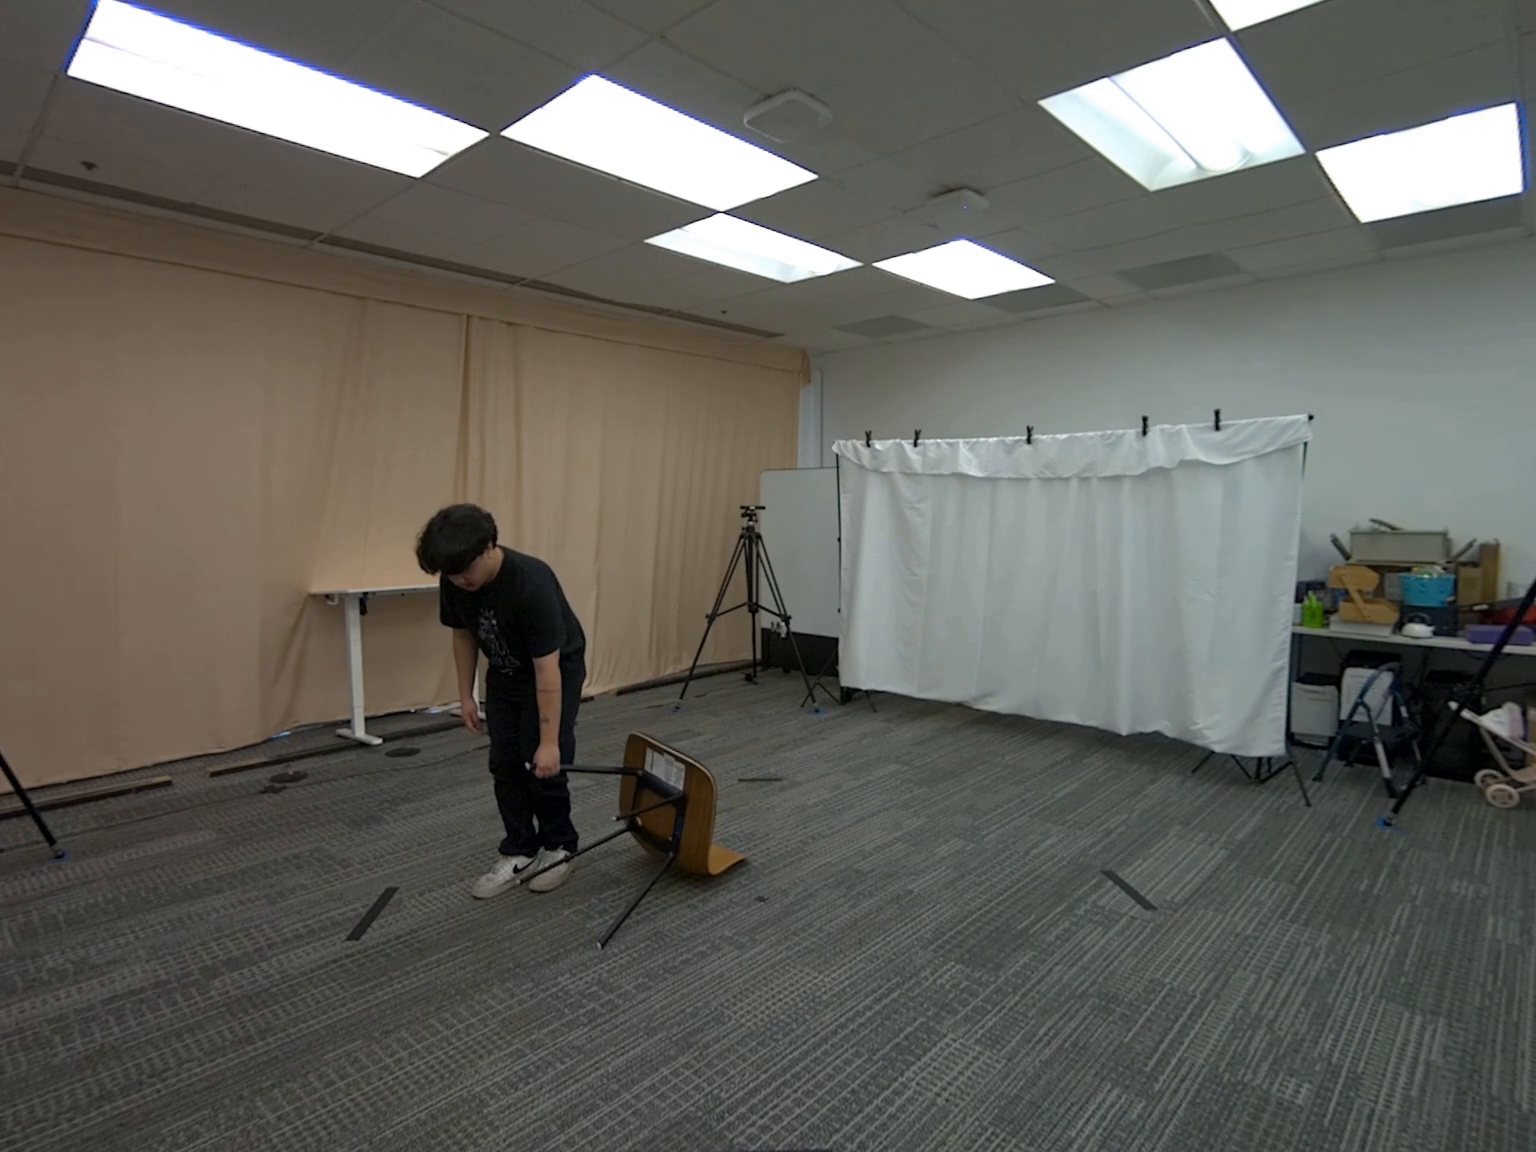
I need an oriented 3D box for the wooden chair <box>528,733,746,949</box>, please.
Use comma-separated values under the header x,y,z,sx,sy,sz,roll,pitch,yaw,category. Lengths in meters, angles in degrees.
x,y,z,sx,sy,sz,roll,pitch,yaw,category
-0.403,0.865,3.061,0.495,0.521,0.850,16,10,37,wooden chair
